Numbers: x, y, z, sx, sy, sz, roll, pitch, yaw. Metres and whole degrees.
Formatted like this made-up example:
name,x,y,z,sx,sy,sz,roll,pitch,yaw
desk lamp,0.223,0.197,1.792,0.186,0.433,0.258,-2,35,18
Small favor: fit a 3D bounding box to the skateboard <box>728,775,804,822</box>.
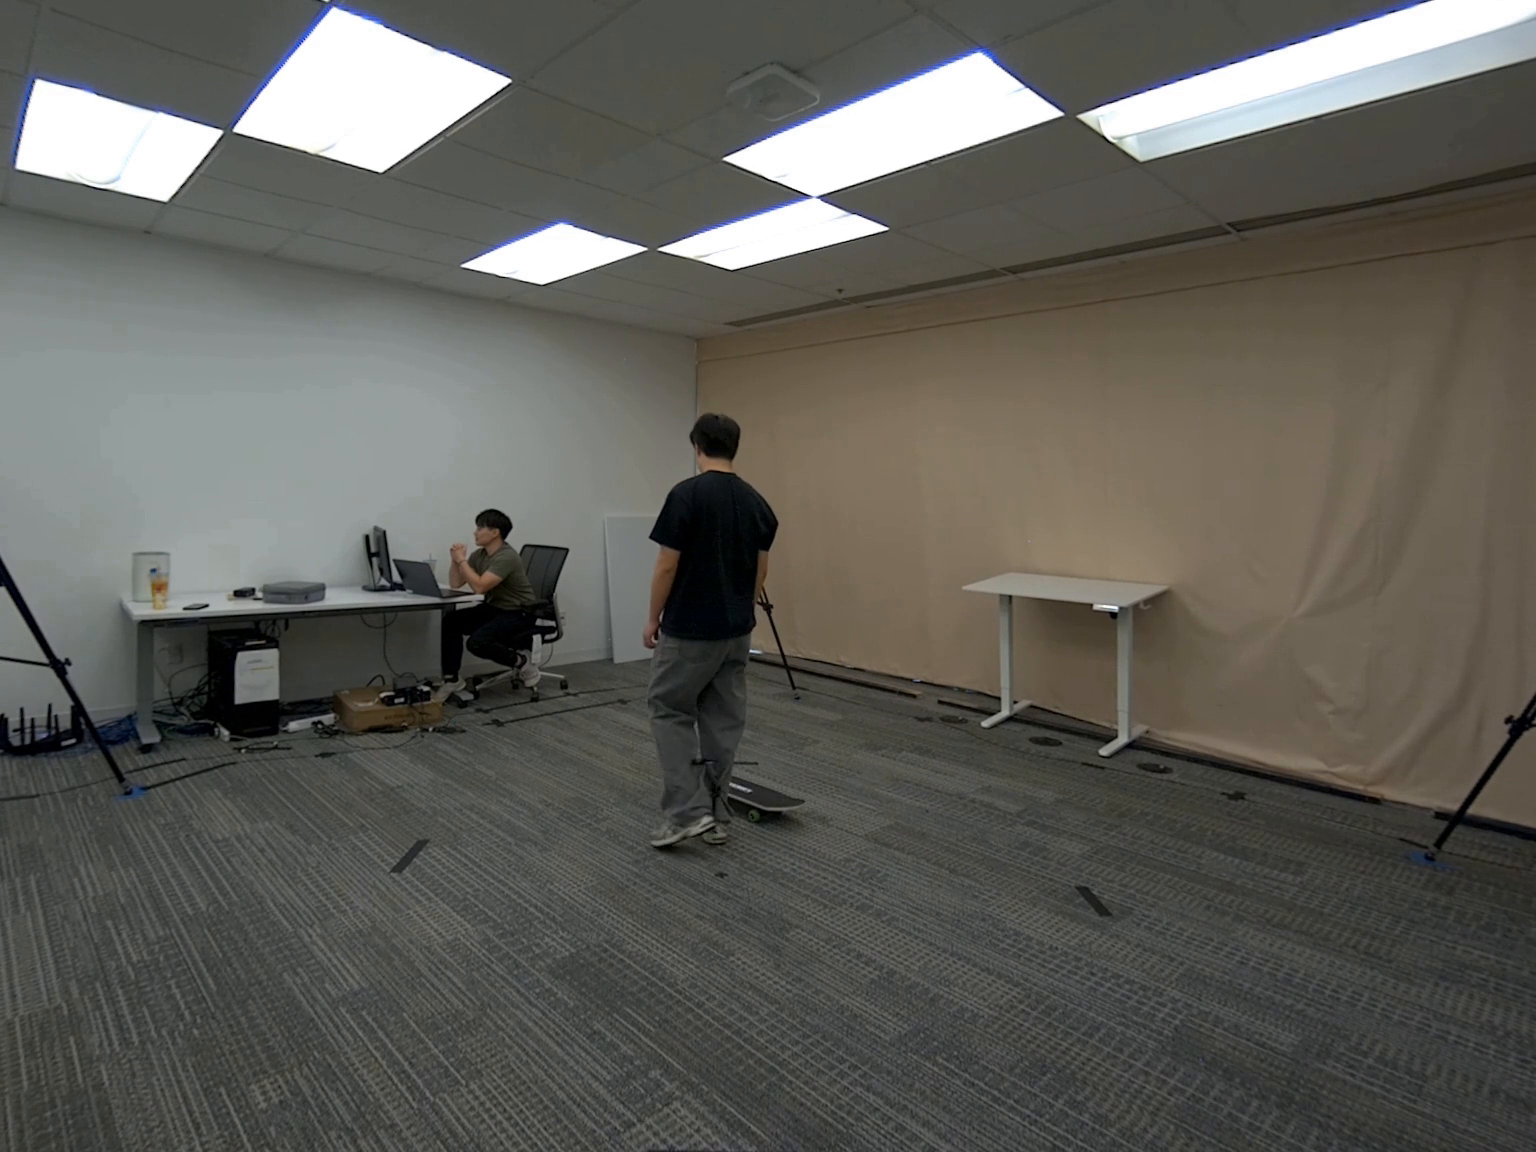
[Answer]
name,x,y,z,sx,sy,sz,roll,pitch,yaw
skateboard,-0.163,0.985,3.822,0.806,0.110,0.189,6,6,43
